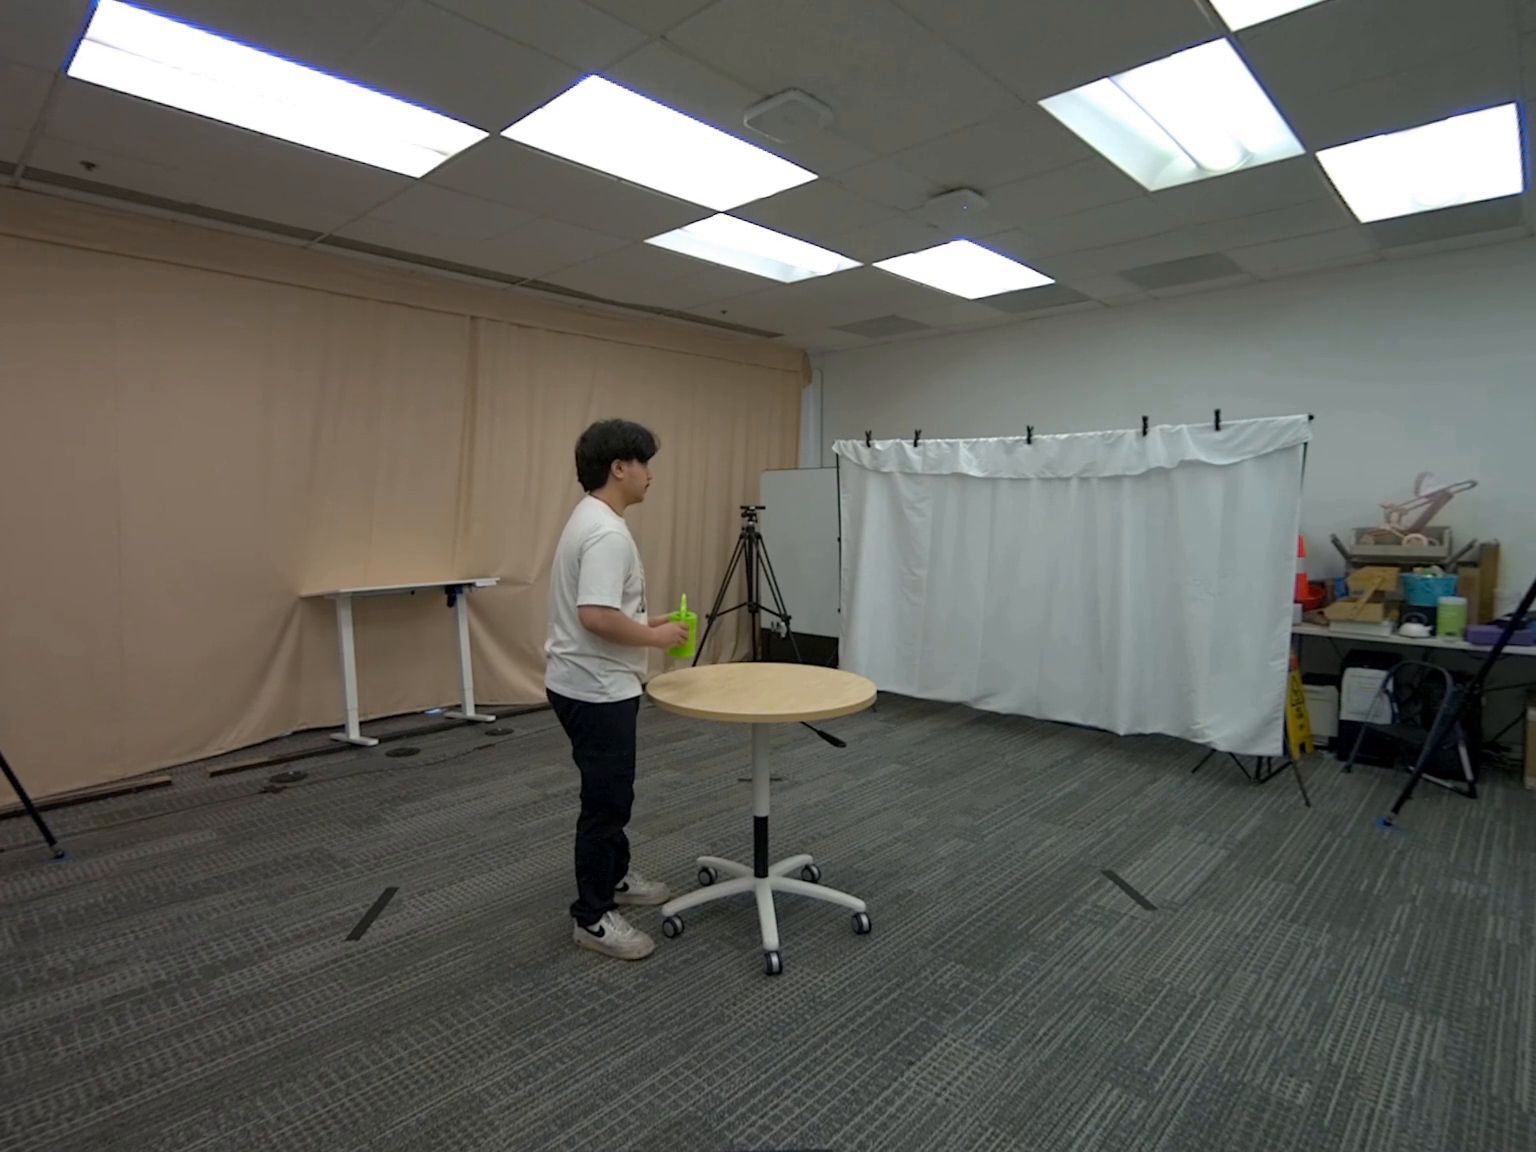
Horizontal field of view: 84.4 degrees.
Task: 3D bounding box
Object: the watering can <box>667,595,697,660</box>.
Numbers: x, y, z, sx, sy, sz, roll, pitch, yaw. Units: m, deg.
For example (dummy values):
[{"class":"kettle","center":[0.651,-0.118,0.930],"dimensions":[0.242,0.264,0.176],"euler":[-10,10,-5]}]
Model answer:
[{"class":"watering can","center":[-0.286,0.174,2.834],"dimensions":[0.098,0.176,0.278],"euler":[4,3,-1]}]
